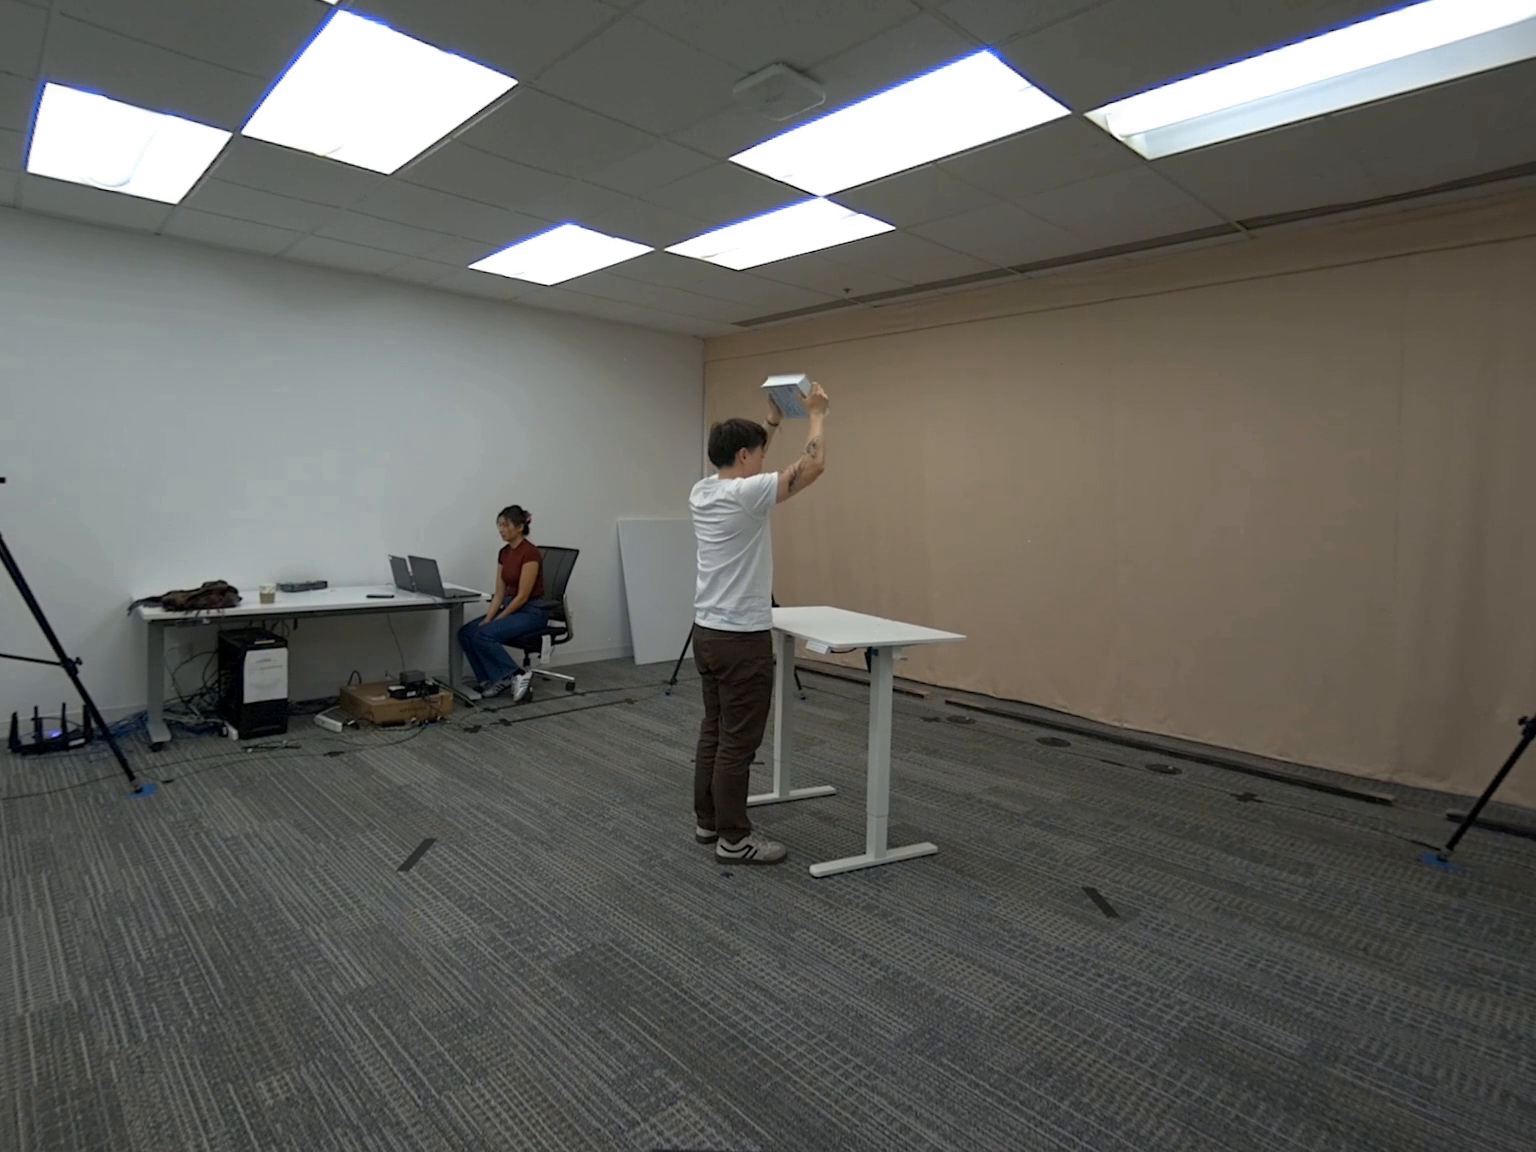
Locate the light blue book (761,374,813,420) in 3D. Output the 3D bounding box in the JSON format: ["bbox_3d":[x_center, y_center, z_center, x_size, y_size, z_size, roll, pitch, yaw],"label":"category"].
[{"bbox_3d":[0.101,-0.705,3.351,0.186,0.059,0.268,48,-16,-28],"label":"light blue book"}]
